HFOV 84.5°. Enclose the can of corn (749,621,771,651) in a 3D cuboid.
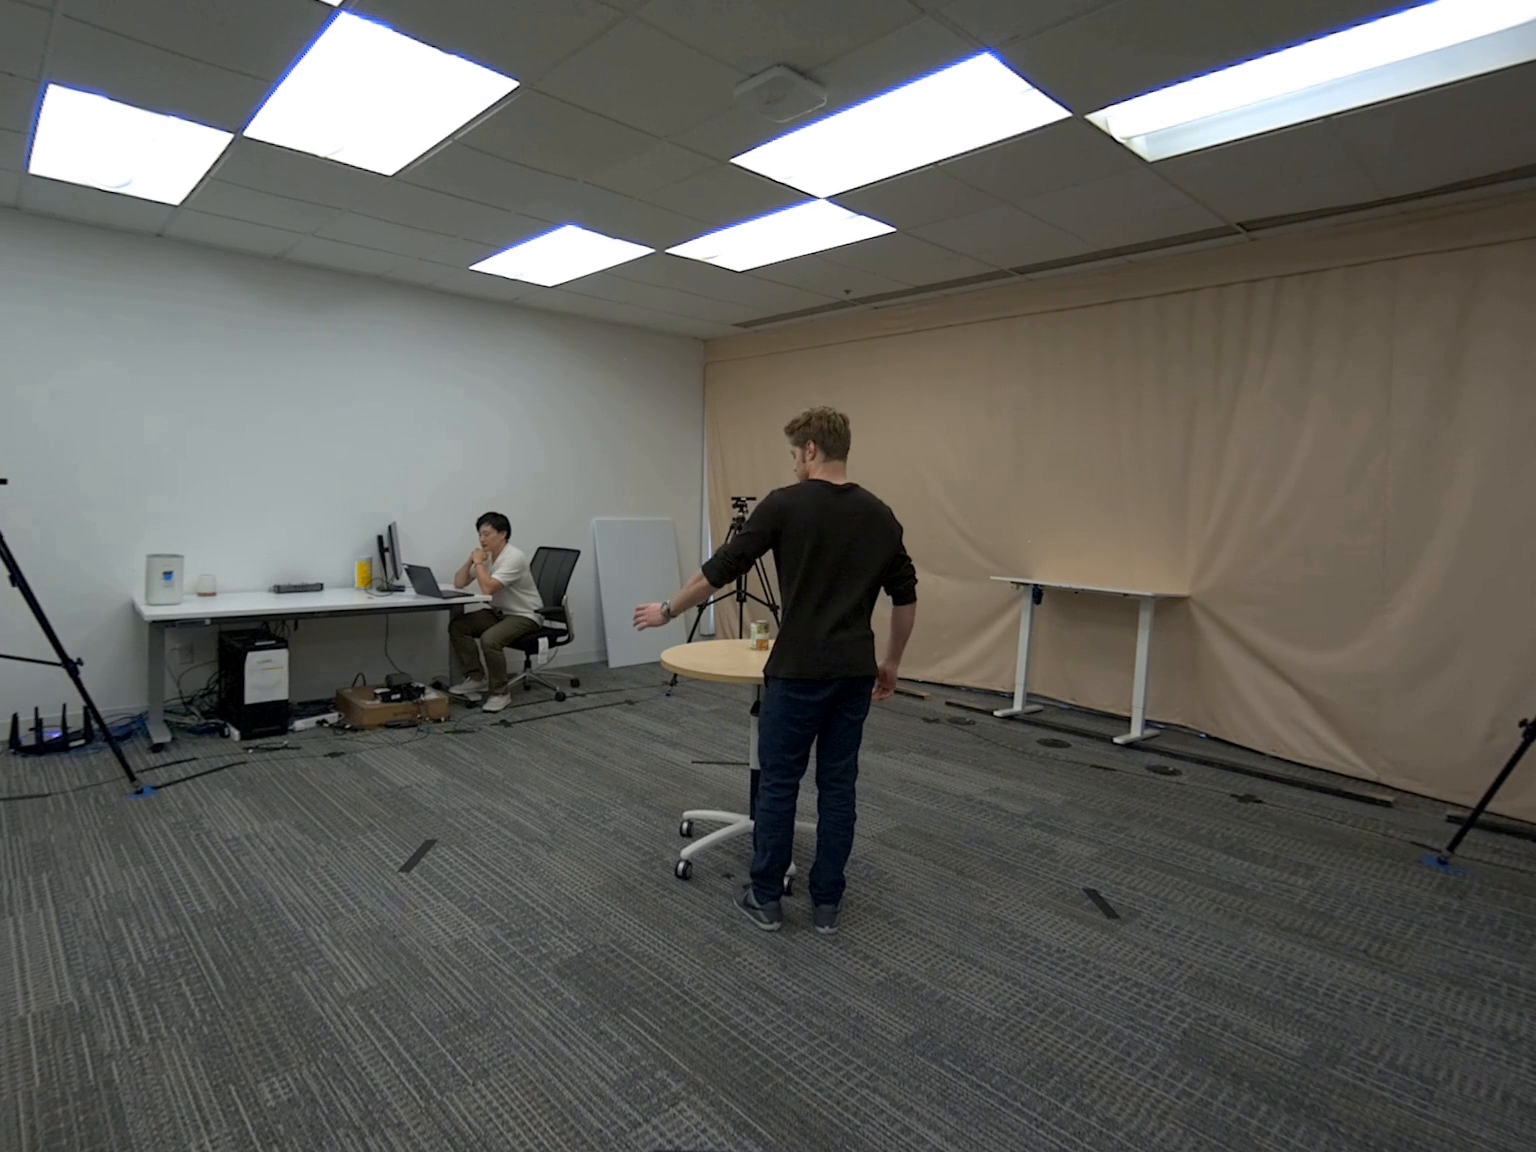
[{"bbox_3d":[-0.043,0.242,3.417,0.074,0.111,0.074,3,1,-1],"label":"can of corn"}]
